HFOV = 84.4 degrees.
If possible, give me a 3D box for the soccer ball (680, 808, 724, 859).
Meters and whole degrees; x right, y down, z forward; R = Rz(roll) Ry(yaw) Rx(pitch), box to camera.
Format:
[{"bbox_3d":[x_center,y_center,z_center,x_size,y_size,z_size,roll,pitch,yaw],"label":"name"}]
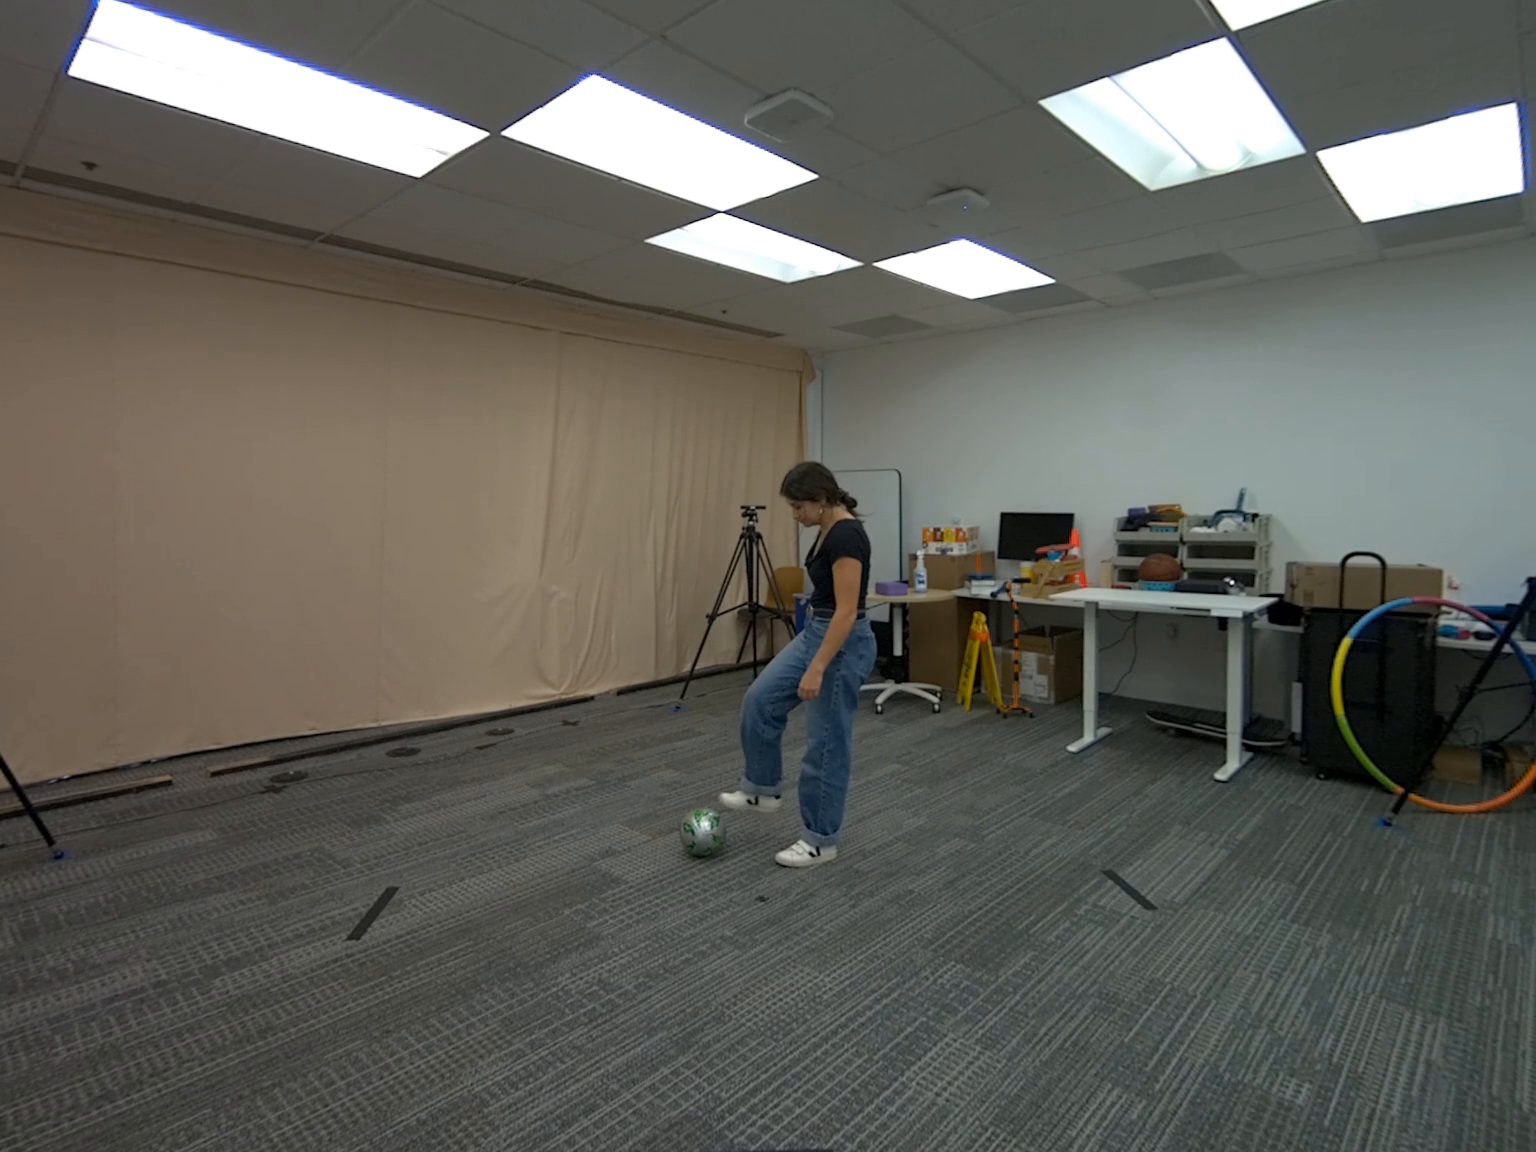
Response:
[{"bbox_3d":[-0.255,1.027,3.356,0.187,0.187,0.188,0,4,-2],"label":"soccer ball"}]
